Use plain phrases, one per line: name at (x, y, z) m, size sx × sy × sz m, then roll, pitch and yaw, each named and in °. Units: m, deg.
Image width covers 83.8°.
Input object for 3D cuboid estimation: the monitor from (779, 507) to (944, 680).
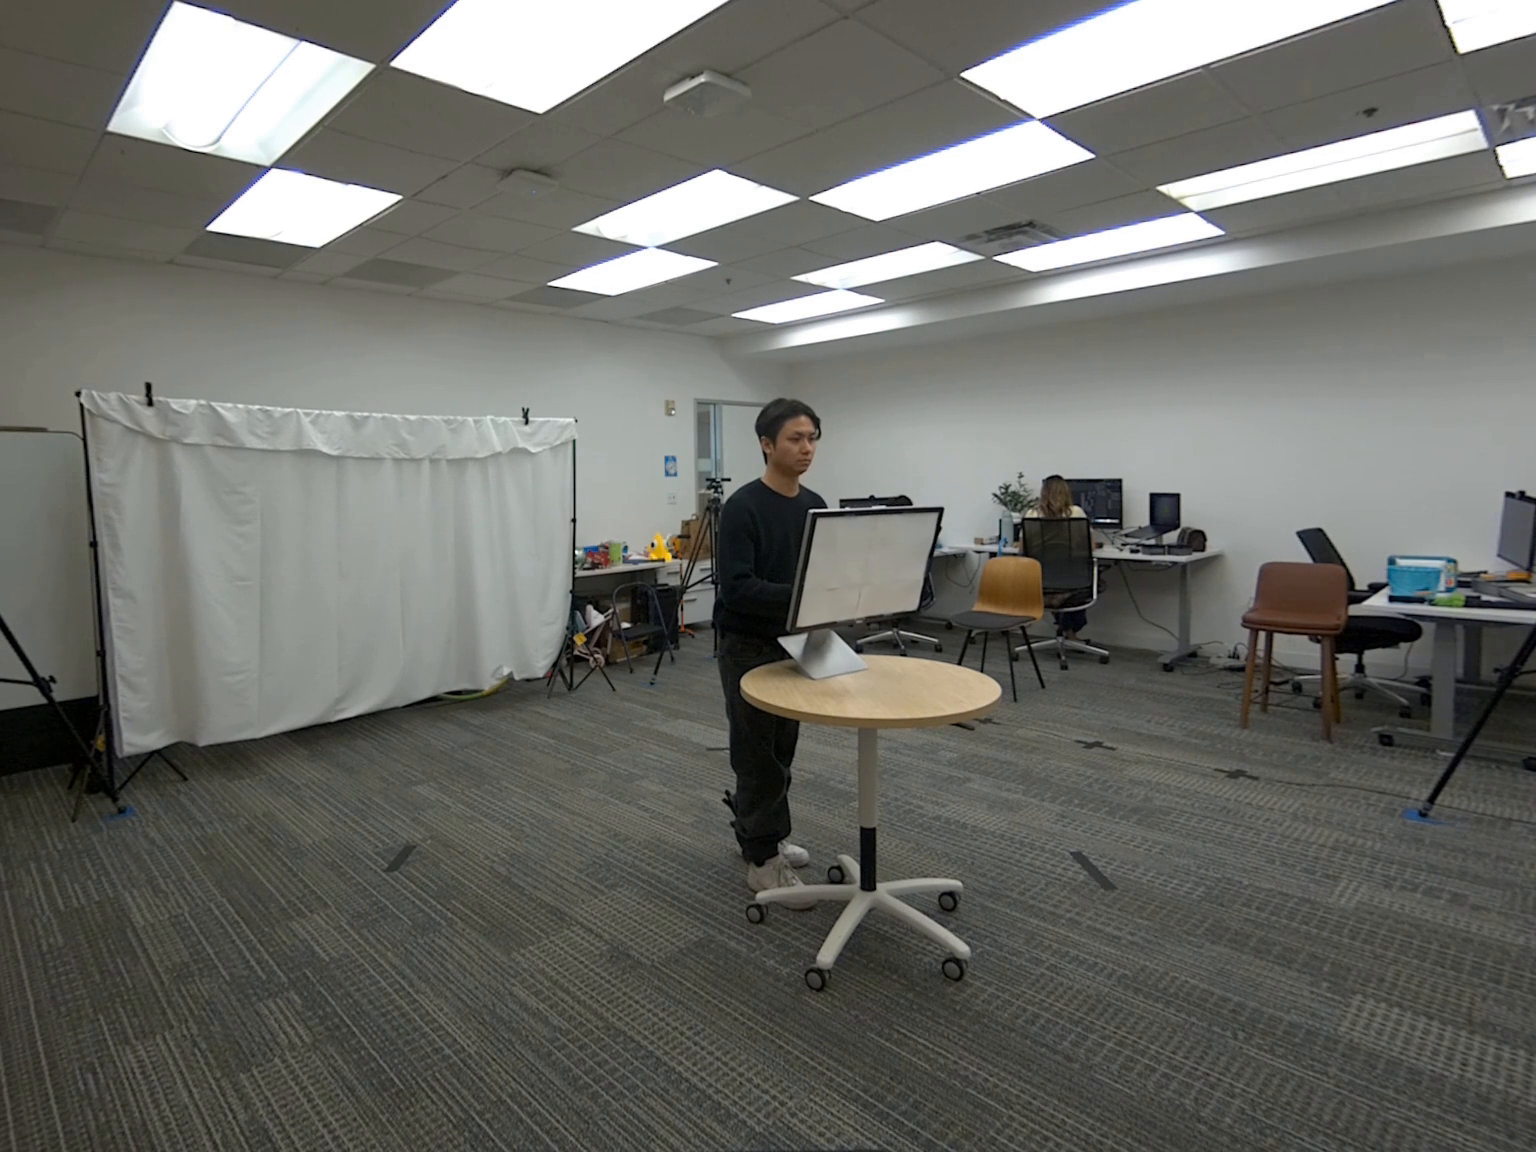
monitor at (0.254, 0.034, 2.616) m, size 0.525 × 0.515 × 0.194 m, roll -7°, pitch 34°, yaw -40°
